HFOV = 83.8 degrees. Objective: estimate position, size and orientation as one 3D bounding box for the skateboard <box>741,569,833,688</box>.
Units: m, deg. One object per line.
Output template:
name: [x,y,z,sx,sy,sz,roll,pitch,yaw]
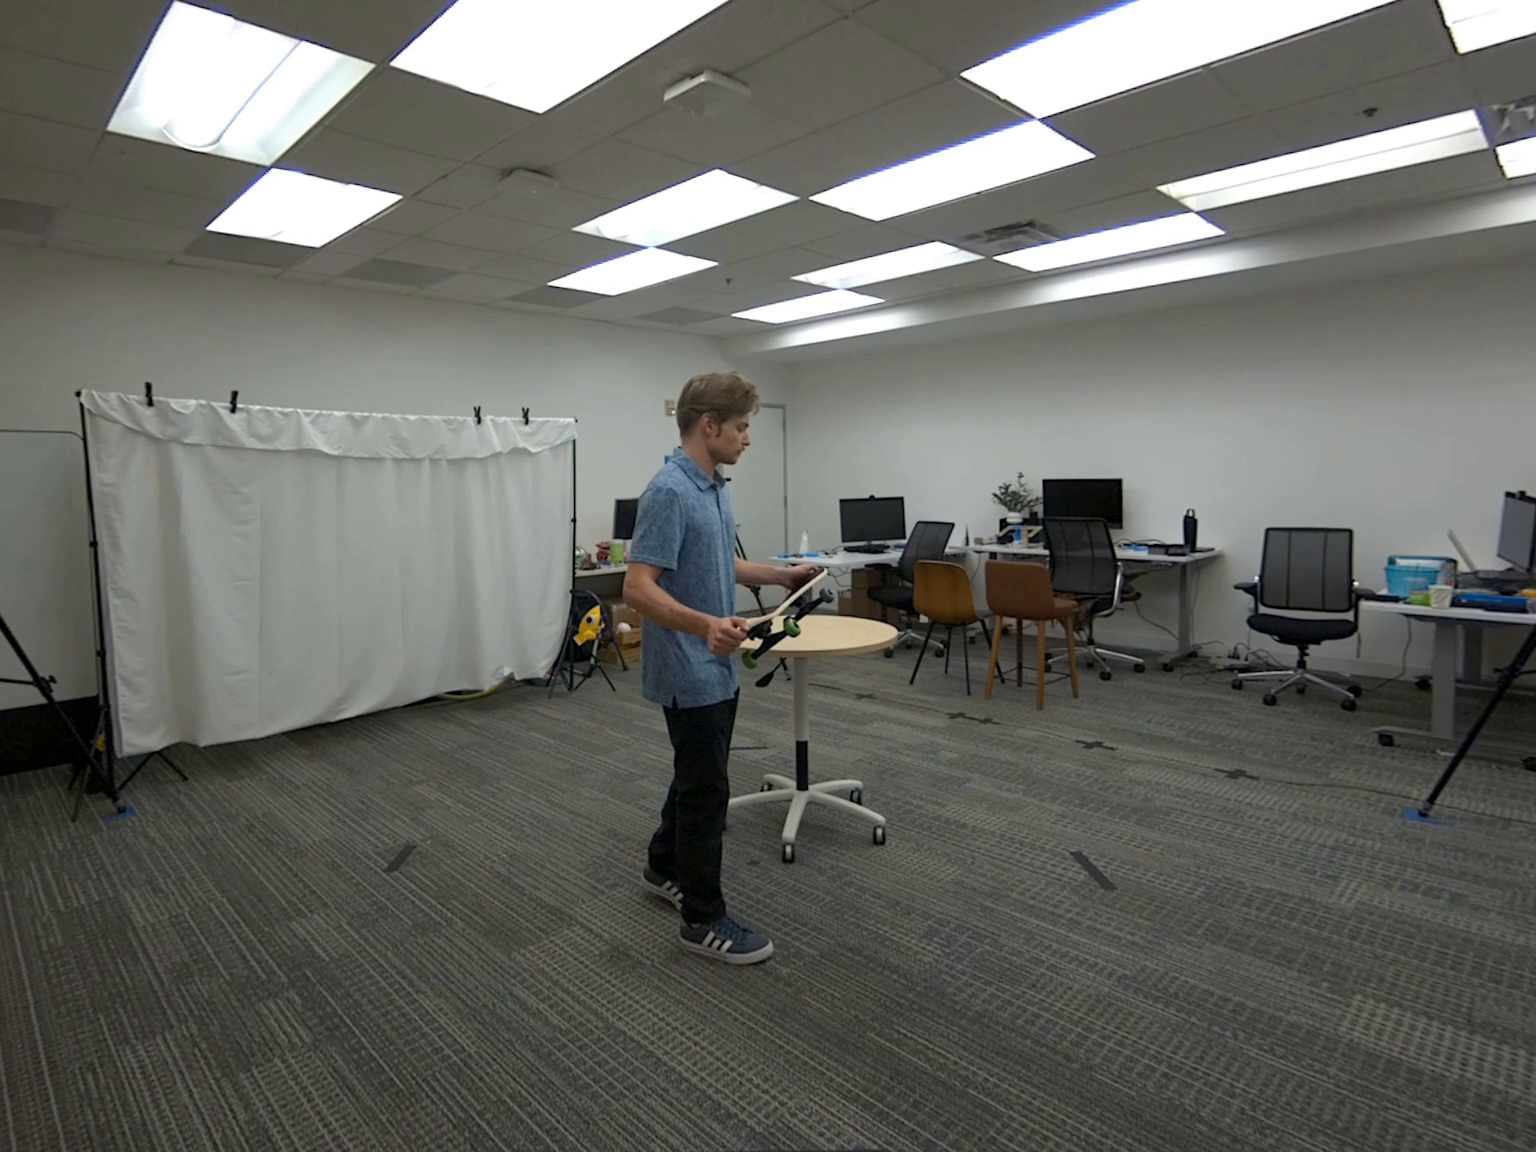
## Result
skateboard: [0.047,0.135,2.447,0.194,0.111,0.776,-42,-6,22]
